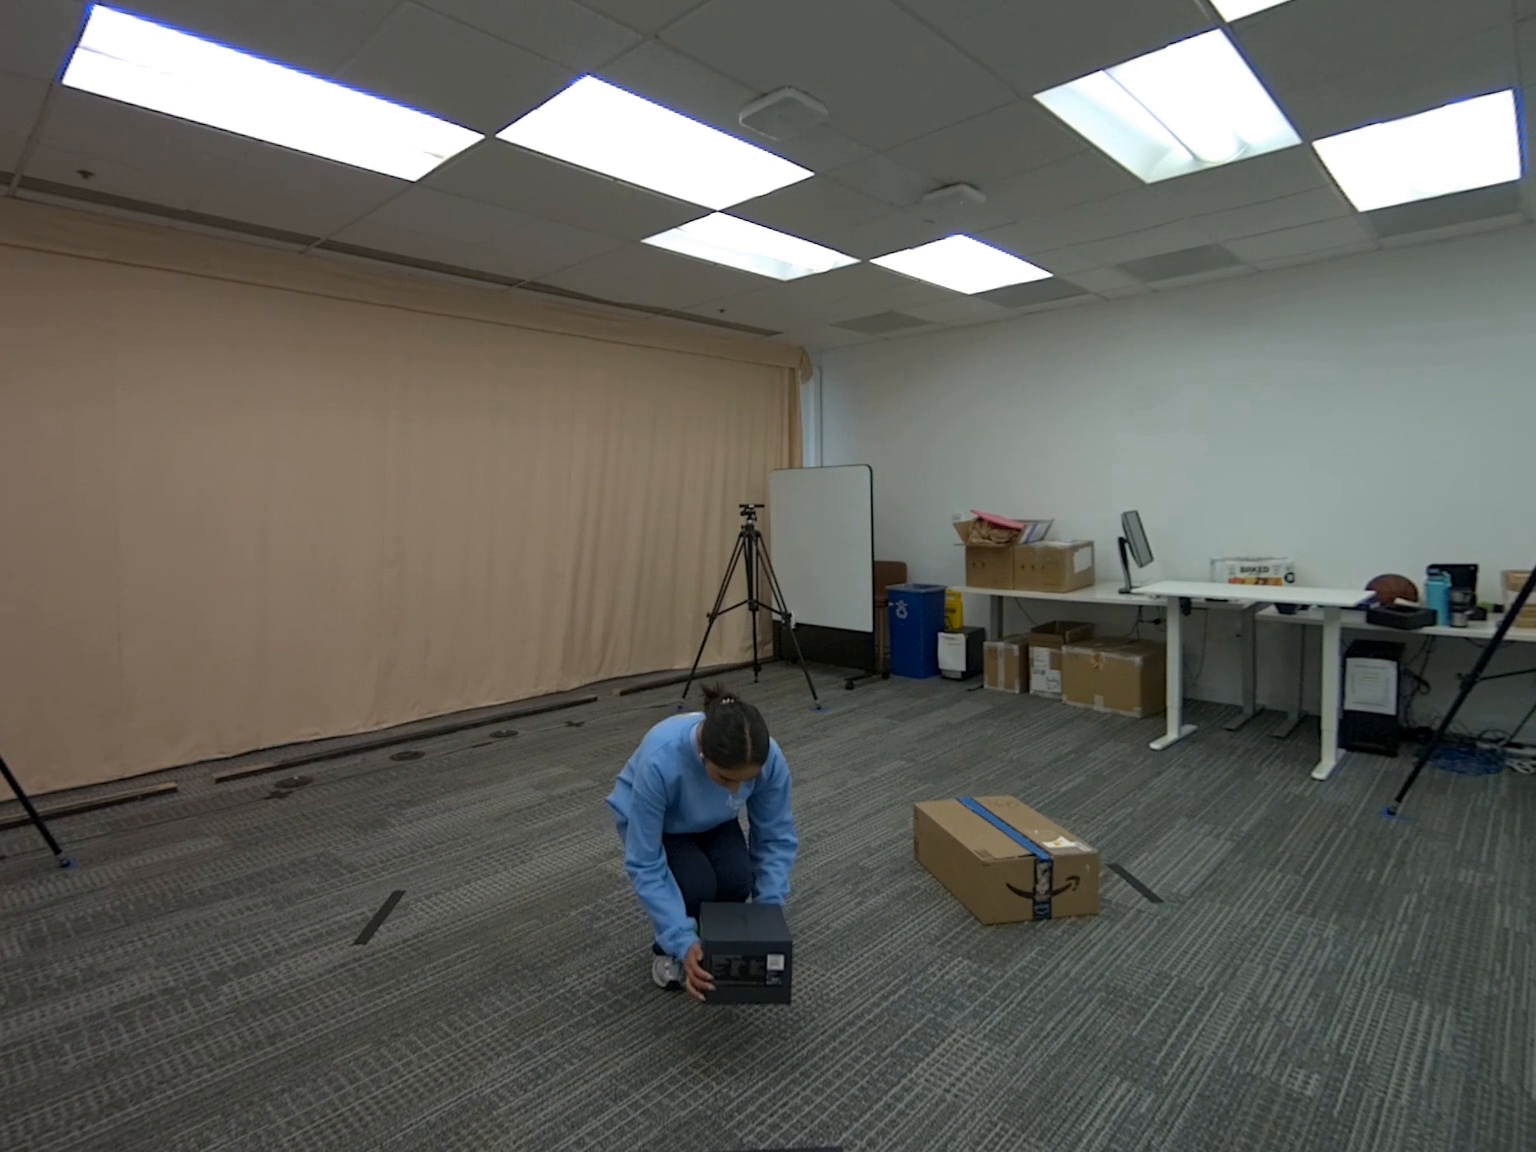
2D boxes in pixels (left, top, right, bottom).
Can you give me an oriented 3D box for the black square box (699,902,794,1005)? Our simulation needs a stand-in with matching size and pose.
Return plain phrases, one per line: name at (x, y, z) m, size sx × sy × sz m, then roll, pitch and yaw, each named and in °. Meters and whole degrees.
black square box at (-0.061, 0.937, 2.129) m, size 0.216 × 0.156 × 0.229 m, roll 1°, pitch 1°, yaw -7°
